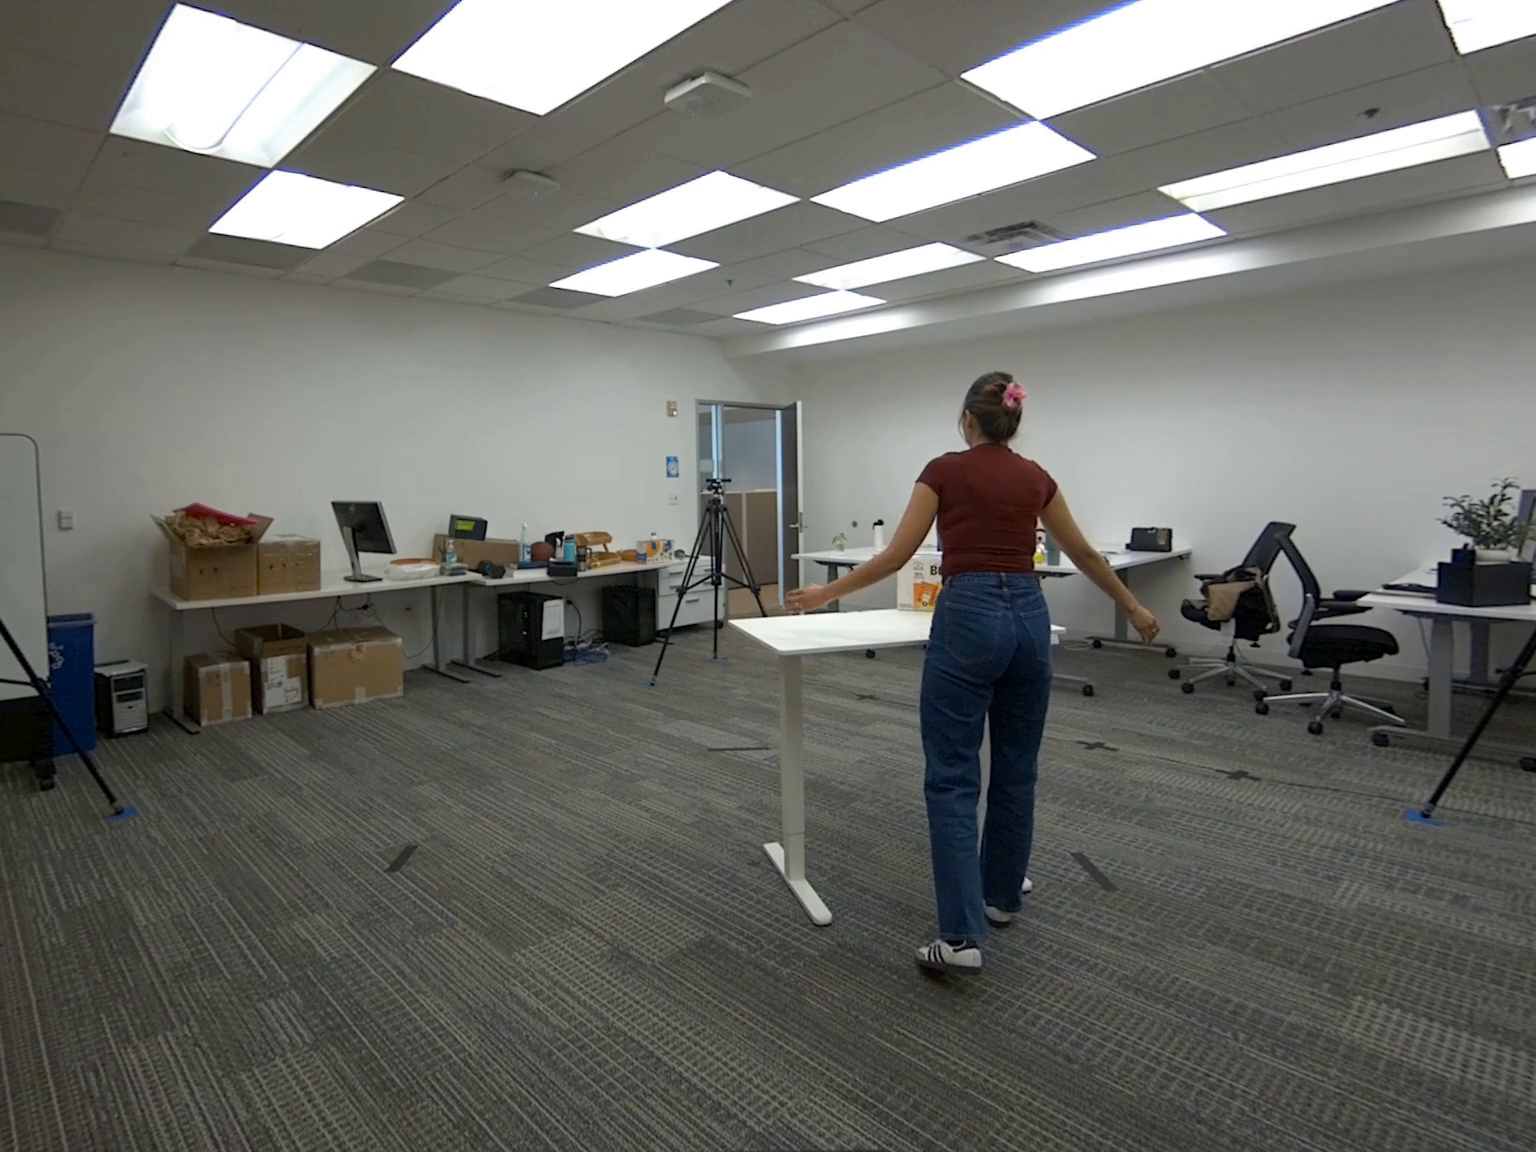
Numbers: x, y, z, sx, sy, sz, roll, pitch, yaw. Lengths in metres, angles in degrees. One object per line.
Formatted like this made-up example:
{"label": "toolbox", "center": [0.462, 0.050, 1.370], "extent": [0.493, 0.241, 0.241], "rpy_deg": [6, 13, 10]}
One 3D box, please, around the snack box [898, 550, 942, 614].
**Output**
{"label": "snack box", "center": [0.751, 0.020, 3.334], "extent": [0.415, 0.205, 0.334], "rpy_deg": [2, 6, 26]}
